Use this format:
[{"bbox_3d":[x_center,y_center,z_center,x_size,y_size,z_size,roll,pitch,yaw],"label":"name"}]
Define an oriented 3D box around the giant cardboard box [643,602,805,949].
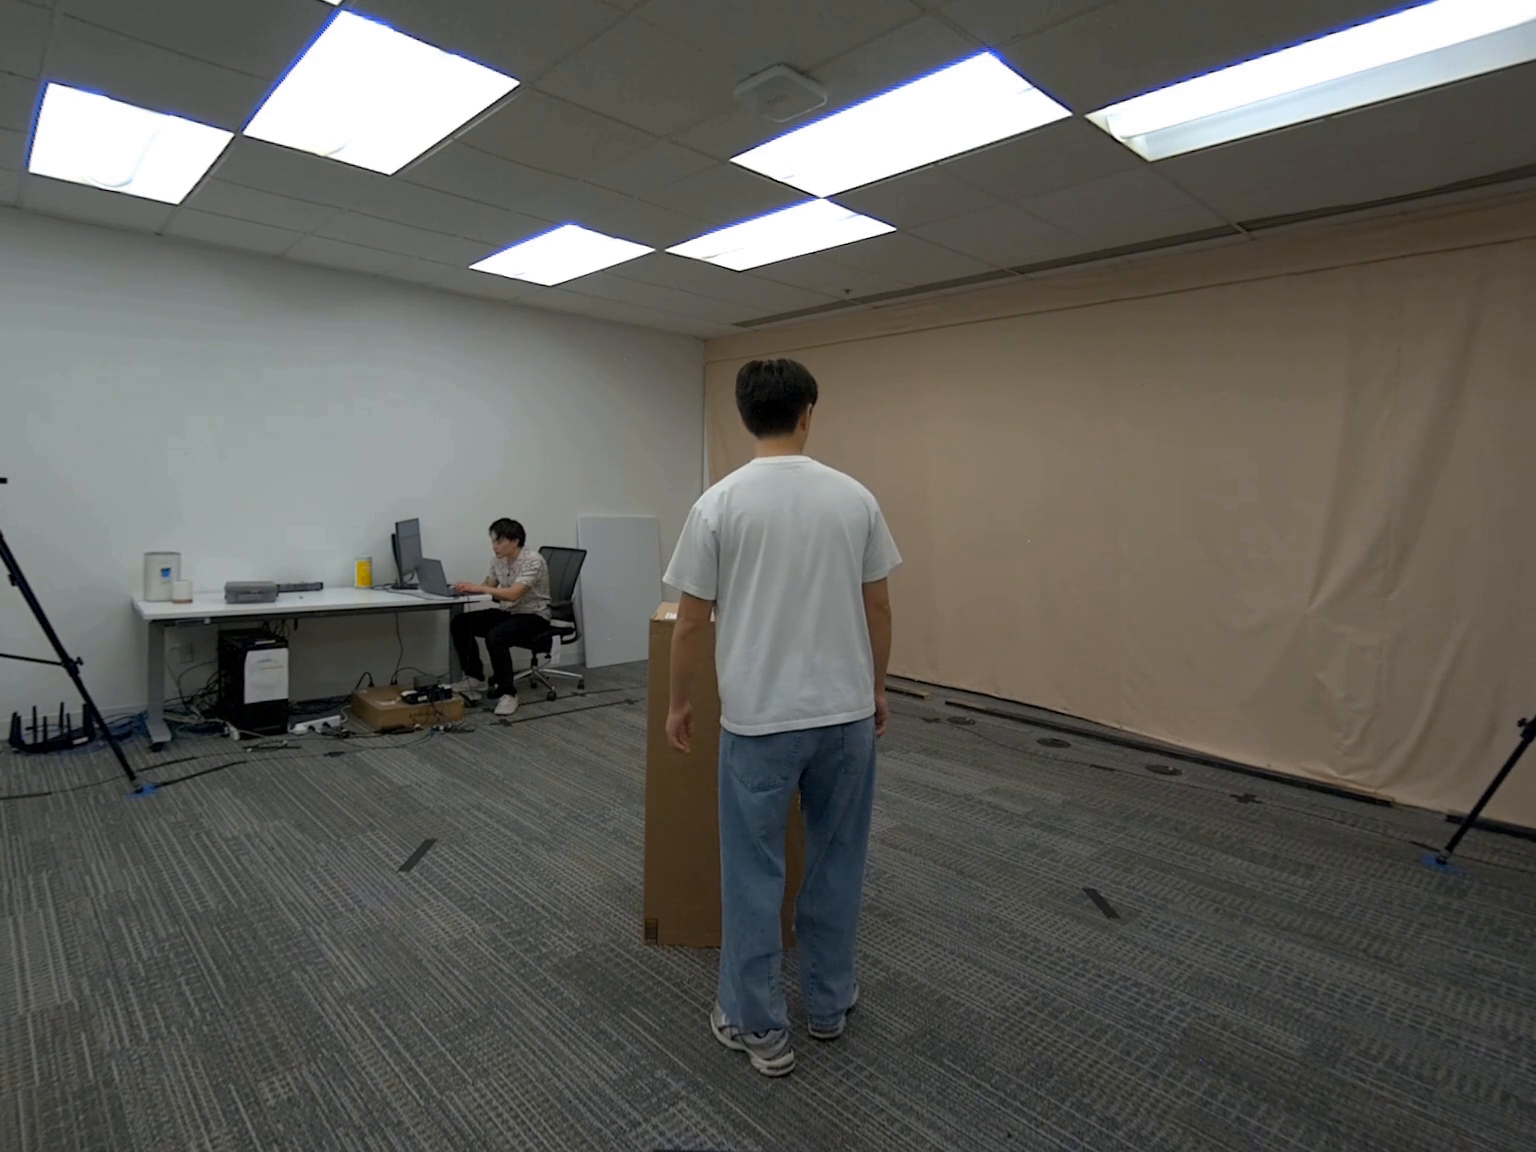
[{"bbox_3d":[-0.104,0.629,2.783,0.577,1.023,0.427,2,3,0],"label":"giant cardboard box"}]
